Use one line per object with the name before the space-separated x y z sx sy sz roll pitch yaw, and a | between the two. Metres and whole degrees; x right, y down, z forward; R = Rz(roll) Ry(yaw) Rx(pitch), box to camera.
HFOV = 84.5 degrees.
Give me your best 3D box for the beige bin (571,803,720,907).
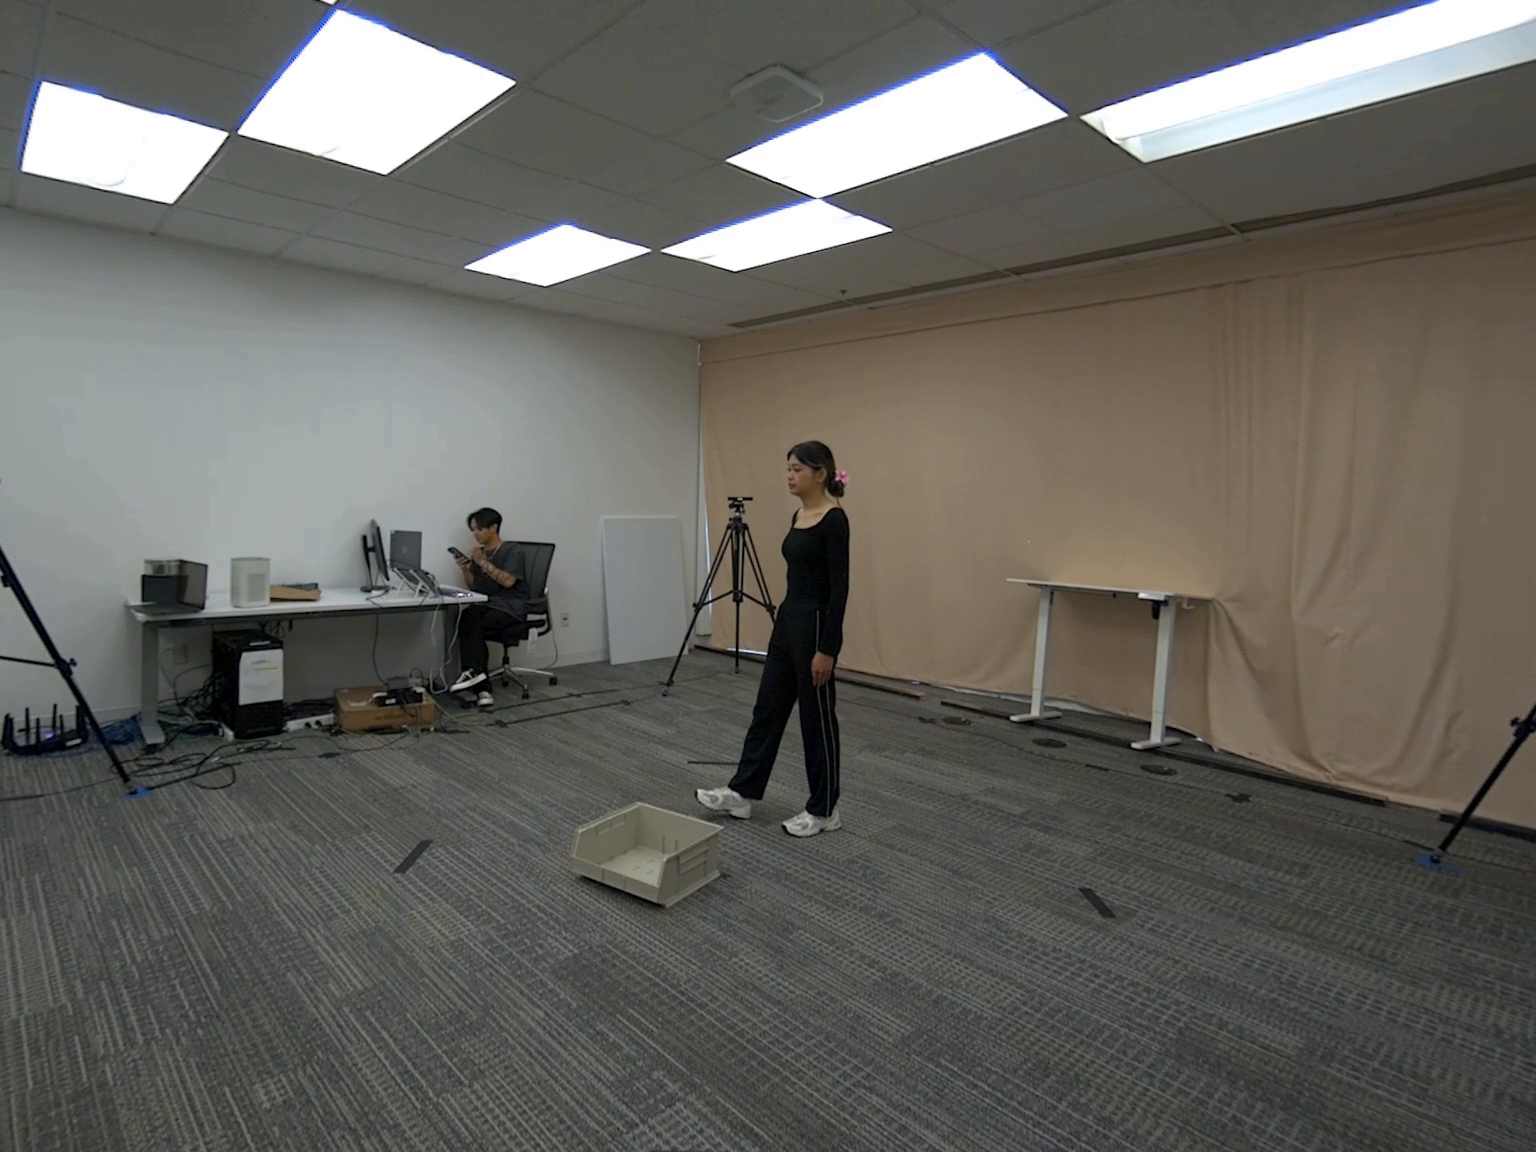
beige bin | -0.446 1.017 3.074 0.432 0.188 0.369 4 5 33
